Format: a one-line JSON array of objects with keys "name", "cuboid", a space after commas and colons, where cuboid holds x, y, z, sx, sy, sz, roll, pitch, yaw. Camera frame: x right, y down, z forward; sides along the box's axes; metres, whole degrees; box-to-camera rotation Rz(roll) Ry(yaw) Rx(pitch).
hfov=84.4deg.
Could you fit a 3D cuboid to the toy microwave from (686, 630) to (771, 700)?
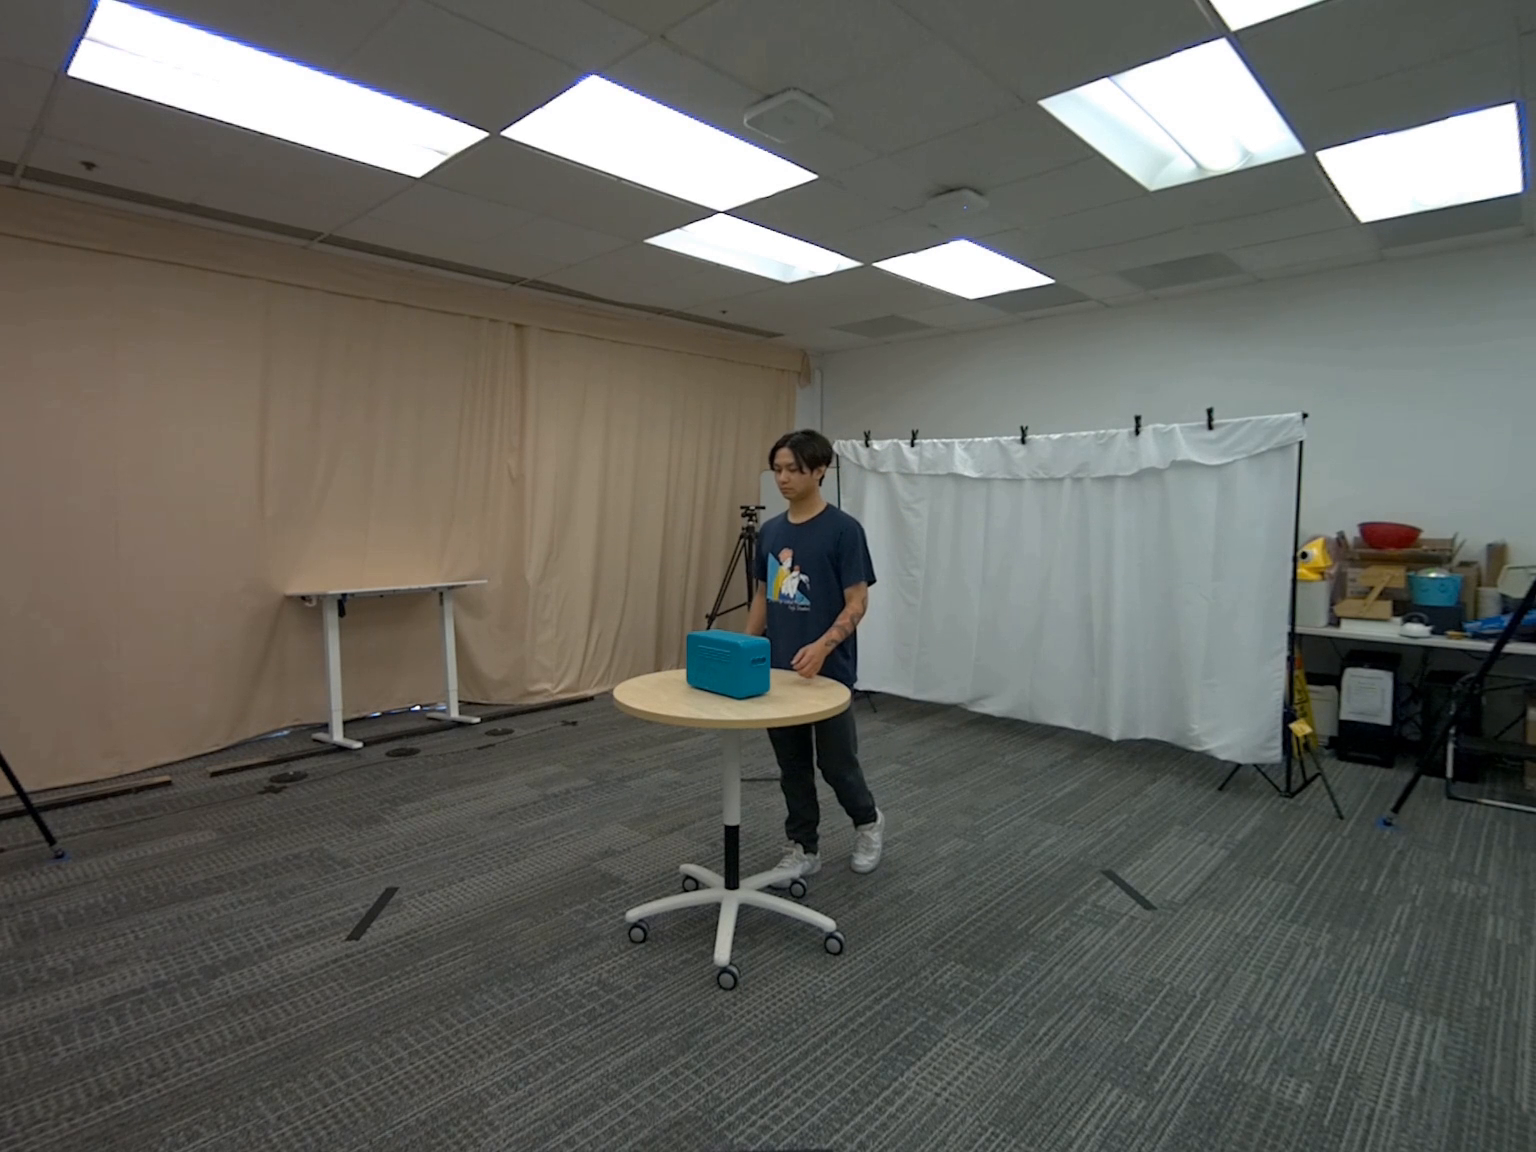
[{"name": "toy microwave", "cuboid": [-0.117, 0.278, 2.713, 0.148, 0.184, 0.296, -3, 5, -42]}]
